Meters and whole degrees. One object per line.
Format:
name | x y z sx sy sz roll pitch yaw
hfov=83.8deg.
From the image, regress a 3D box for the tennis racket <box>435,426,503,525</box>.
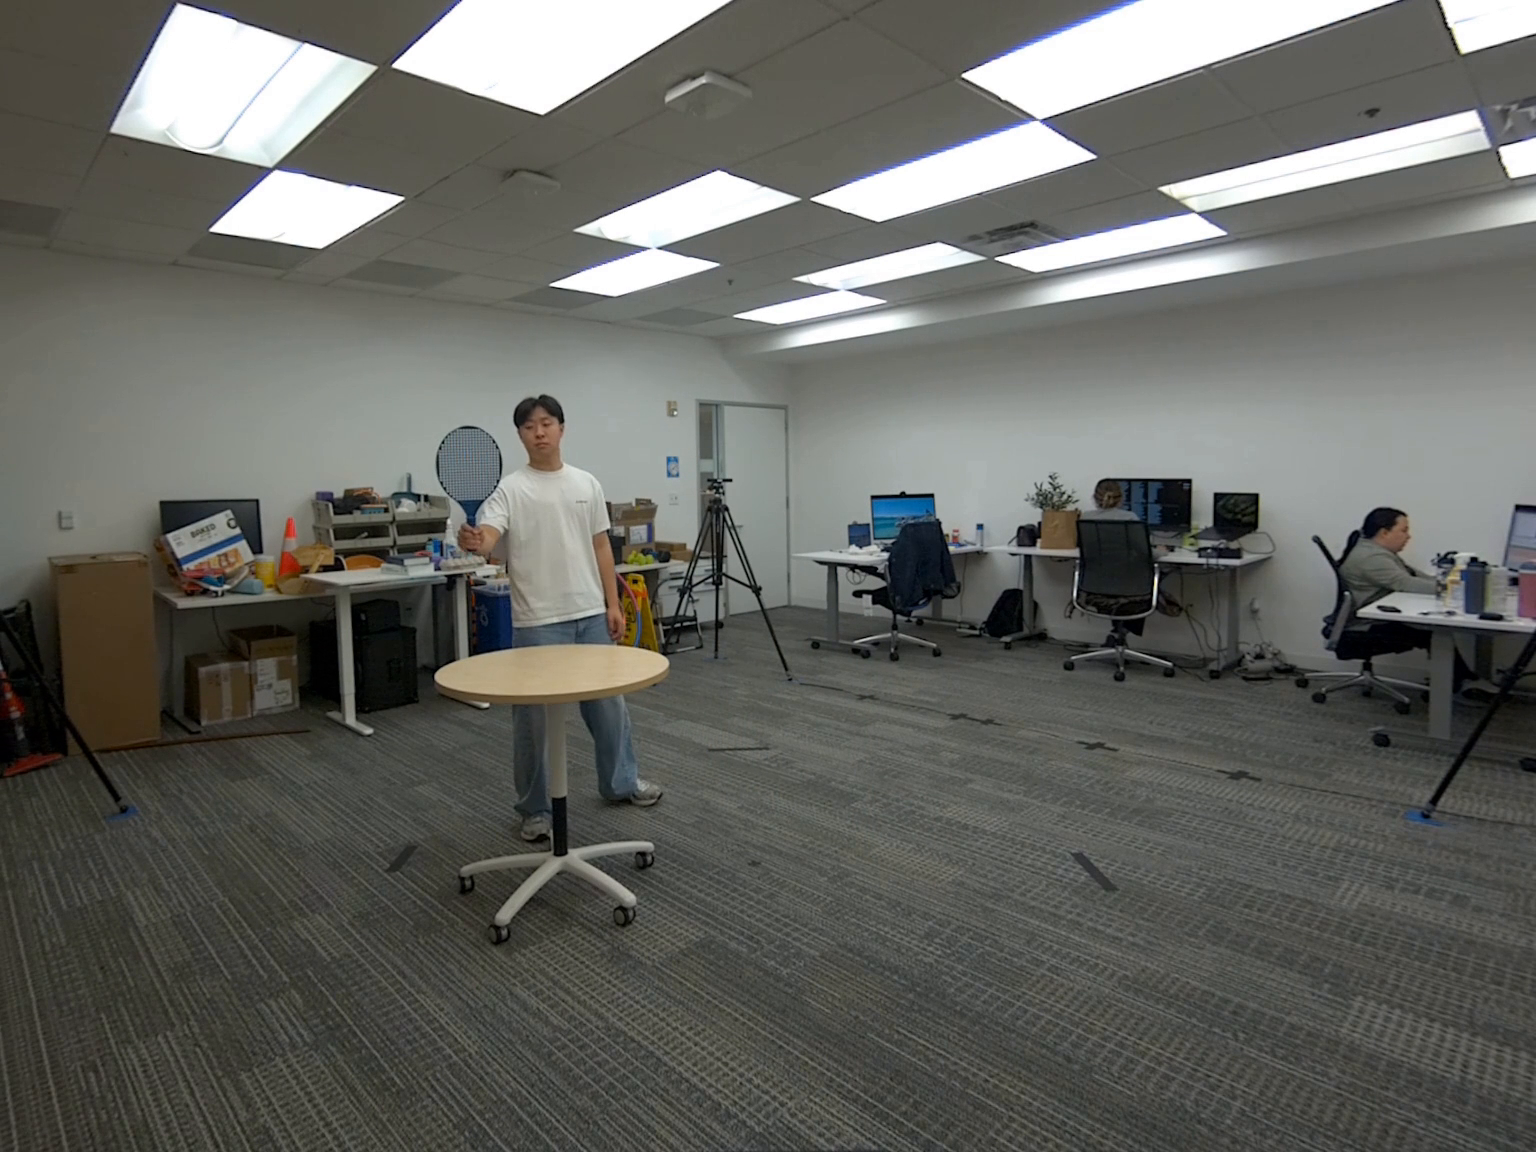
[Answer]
tennis racket | -0.996 -0.290 2.868 0.210 0.426 0.033 -5 19 -22
